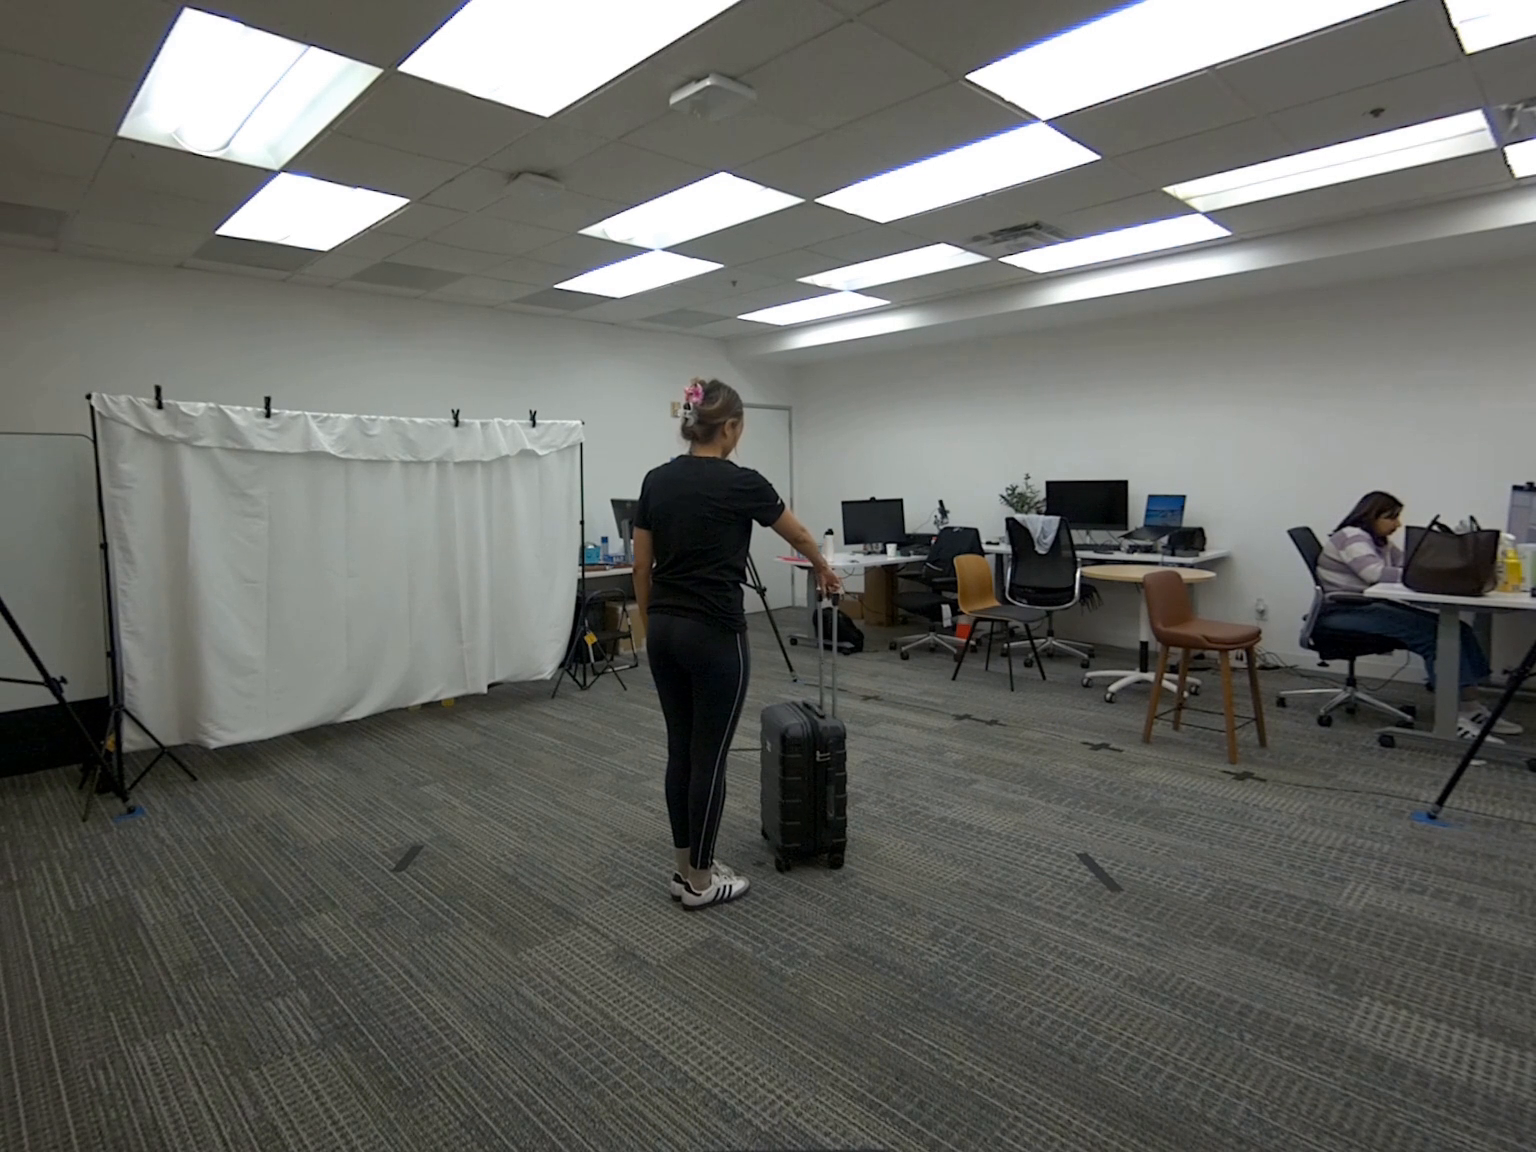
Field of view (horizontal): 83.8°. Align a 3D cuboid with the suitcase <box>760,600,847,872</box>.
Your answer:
[{"bbox_3d":[0.126,0.561,3.170,0.254,0.975,0.389,-2,4,-11],"label":"suitcase"}]
